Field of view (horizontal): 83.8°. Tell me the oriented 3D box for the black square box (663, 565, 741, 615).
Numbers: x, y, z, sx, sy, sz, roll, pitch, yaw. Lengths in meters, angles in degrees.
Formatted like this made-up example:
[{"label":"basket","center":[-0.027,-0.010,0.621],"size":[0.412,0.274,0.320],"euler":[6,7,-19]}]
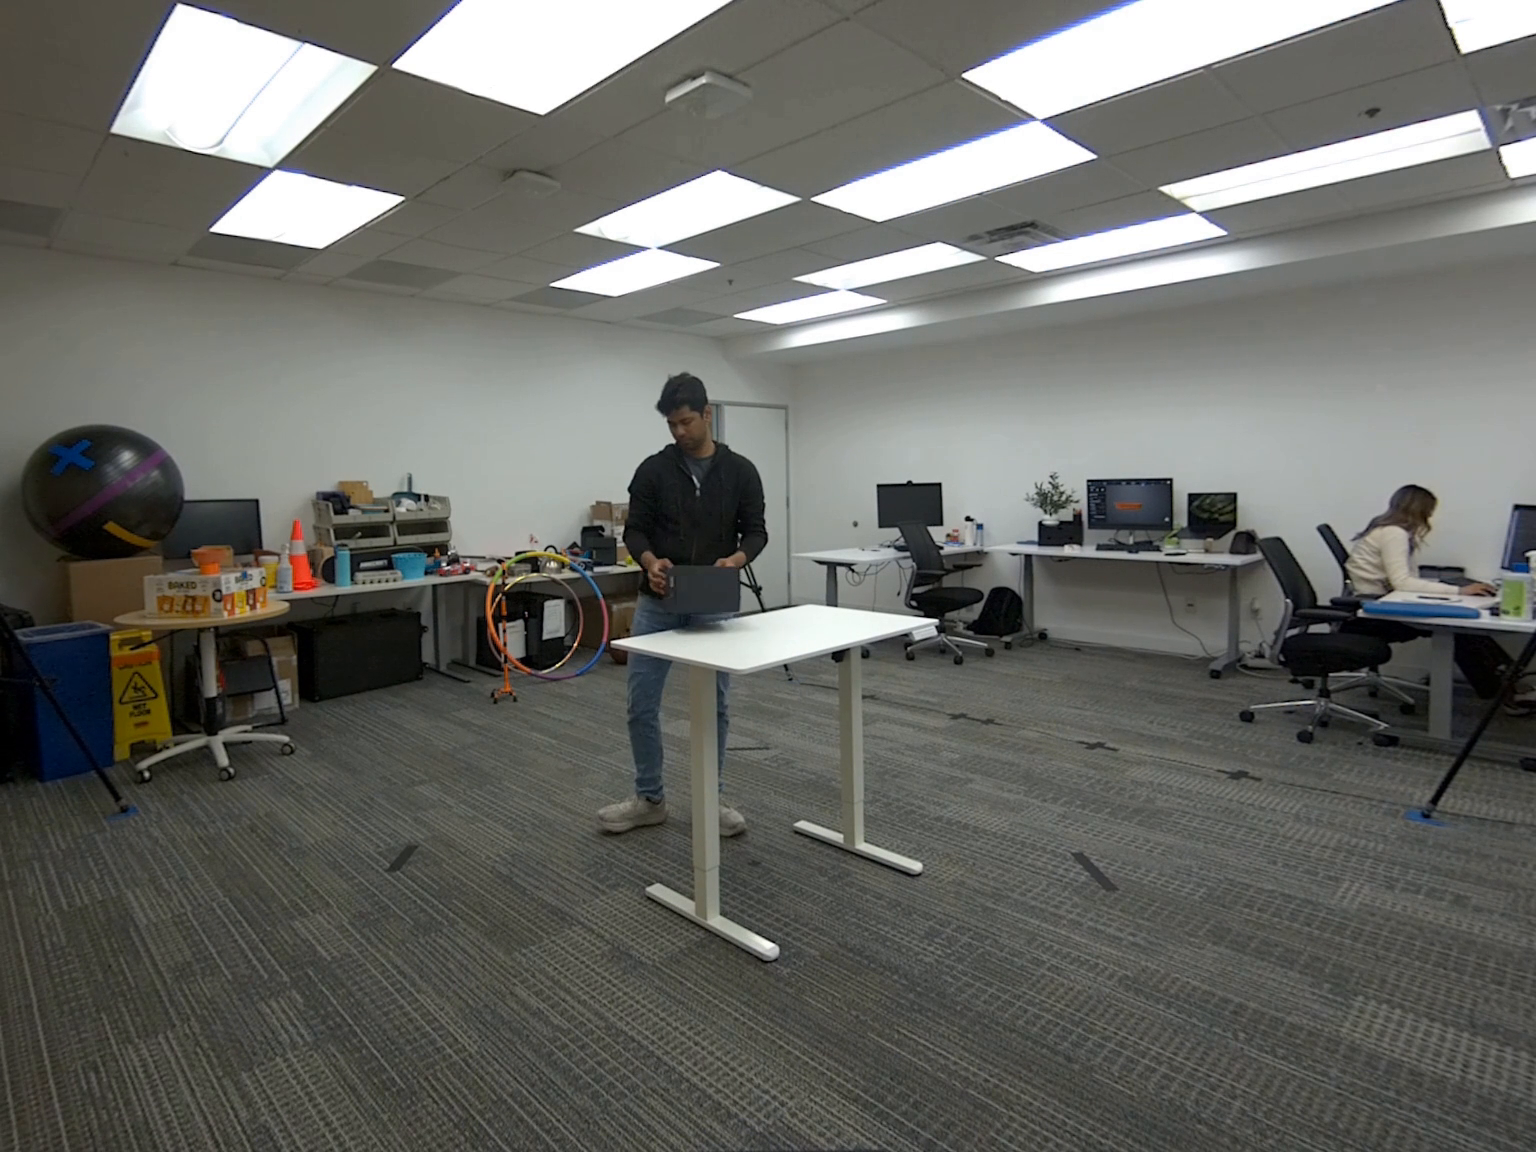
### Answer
[{"label":"black square box","center":[-0.249,0.062,2.979],"size":[0.225,0.157,0.219],"euler":[1,-4,-15]}]
